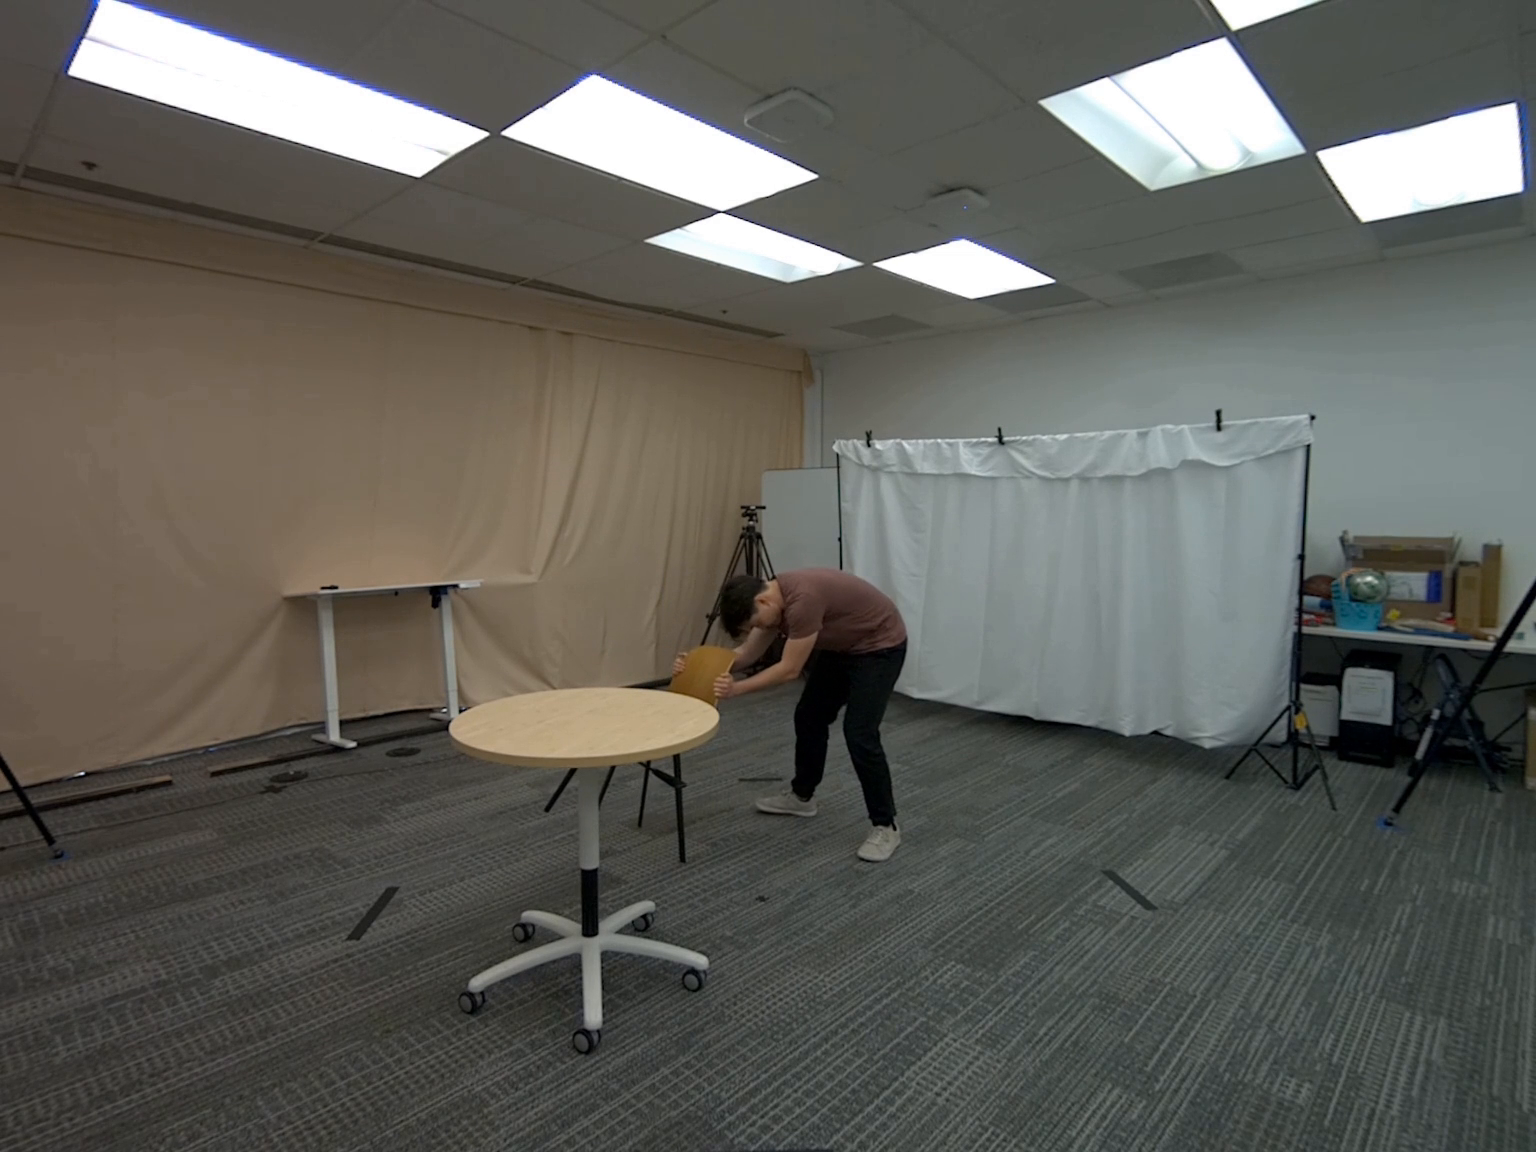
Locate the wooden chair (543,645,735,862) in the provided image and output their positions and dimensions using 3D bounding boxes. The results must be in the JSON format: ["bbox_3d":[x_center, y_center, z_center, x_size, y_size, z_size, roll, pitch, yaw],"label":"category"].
[{"bbox_3d":[-0.514,0.635,3.402,0.507,0.879,0.492,23,-9,-29],"label":"wooden chair"}]
